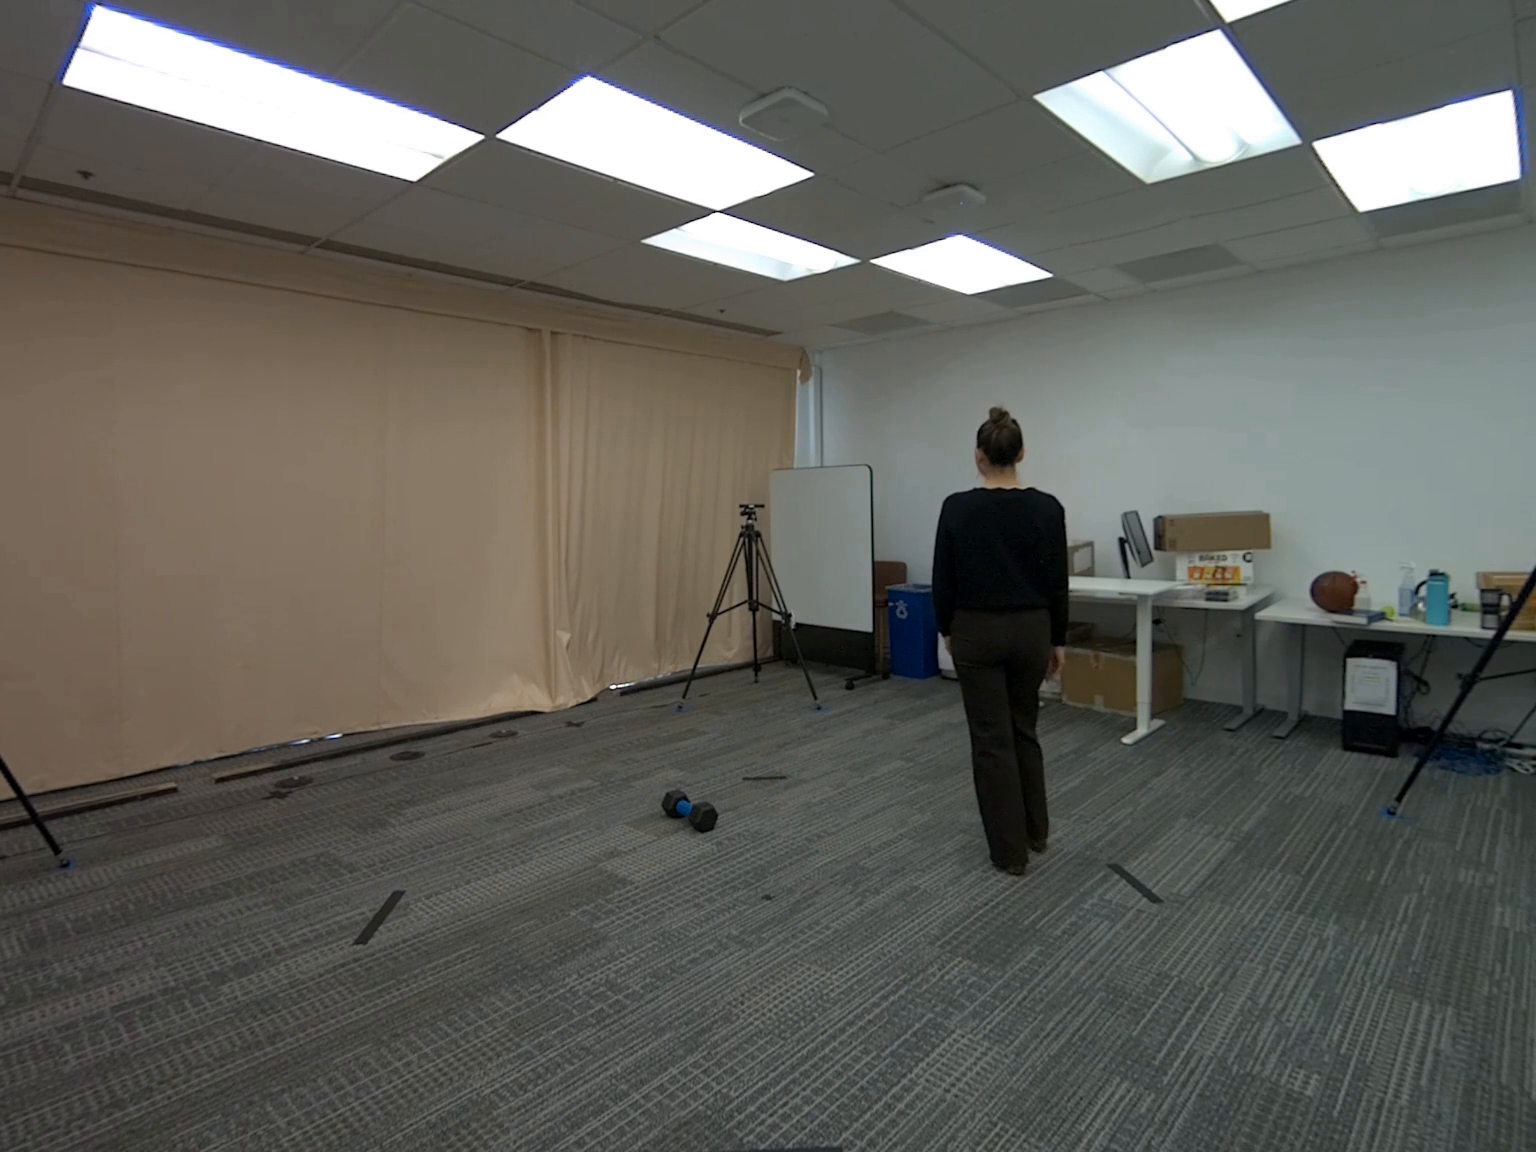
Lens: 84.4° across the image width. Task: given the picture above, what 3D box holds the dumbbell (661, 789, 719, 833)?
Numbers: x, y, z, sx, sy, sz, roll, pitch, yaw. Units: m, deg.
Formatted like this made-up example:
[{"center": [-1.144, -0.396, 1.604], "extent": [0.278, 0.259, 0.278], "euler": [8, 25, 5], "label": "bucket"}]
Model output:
[{"center": [-0.346, 1.031, 3.708], "extent": [0.105, 0.123, 0.303], "euler": [34, -18, -35], "label": "dumbbell"}]
